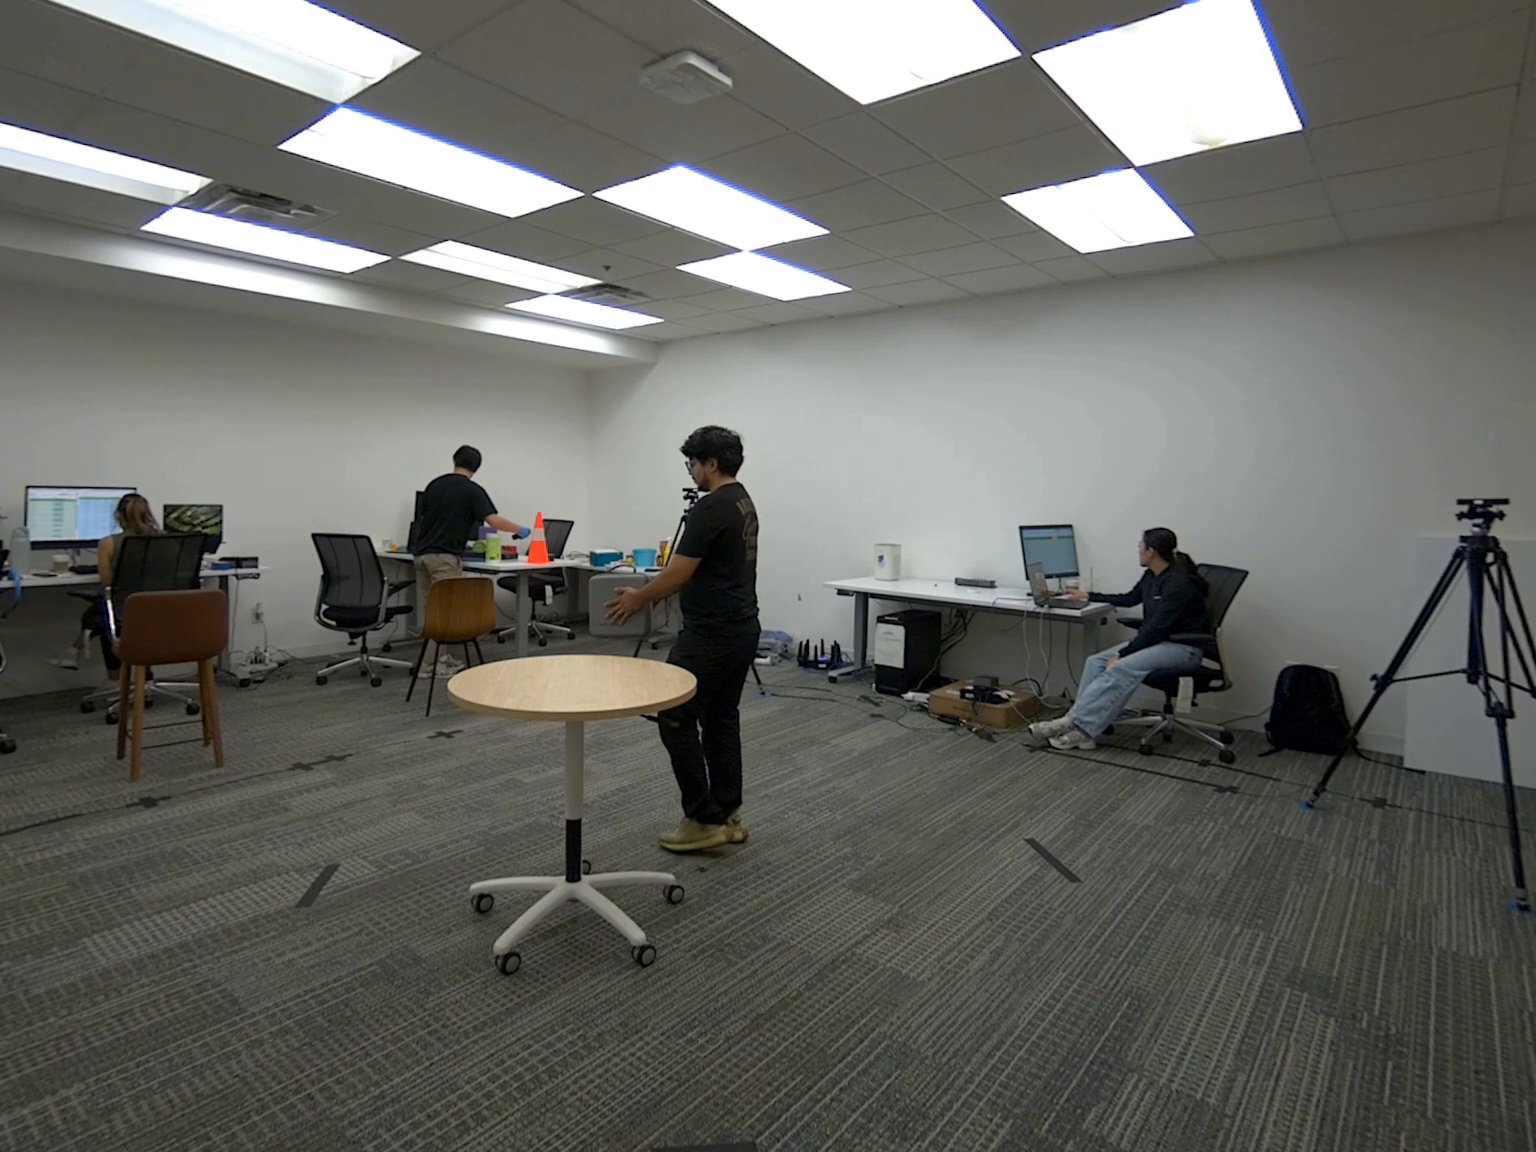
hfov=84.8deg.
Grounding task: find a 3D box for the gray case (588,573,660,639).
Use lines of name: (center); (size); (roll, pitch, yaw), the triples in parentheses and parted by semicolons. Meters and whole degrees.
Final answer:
gray case: (-0.621, 0.116, 3.482); (0.260, 0.262, 0.102); (-2, -4, 11)
